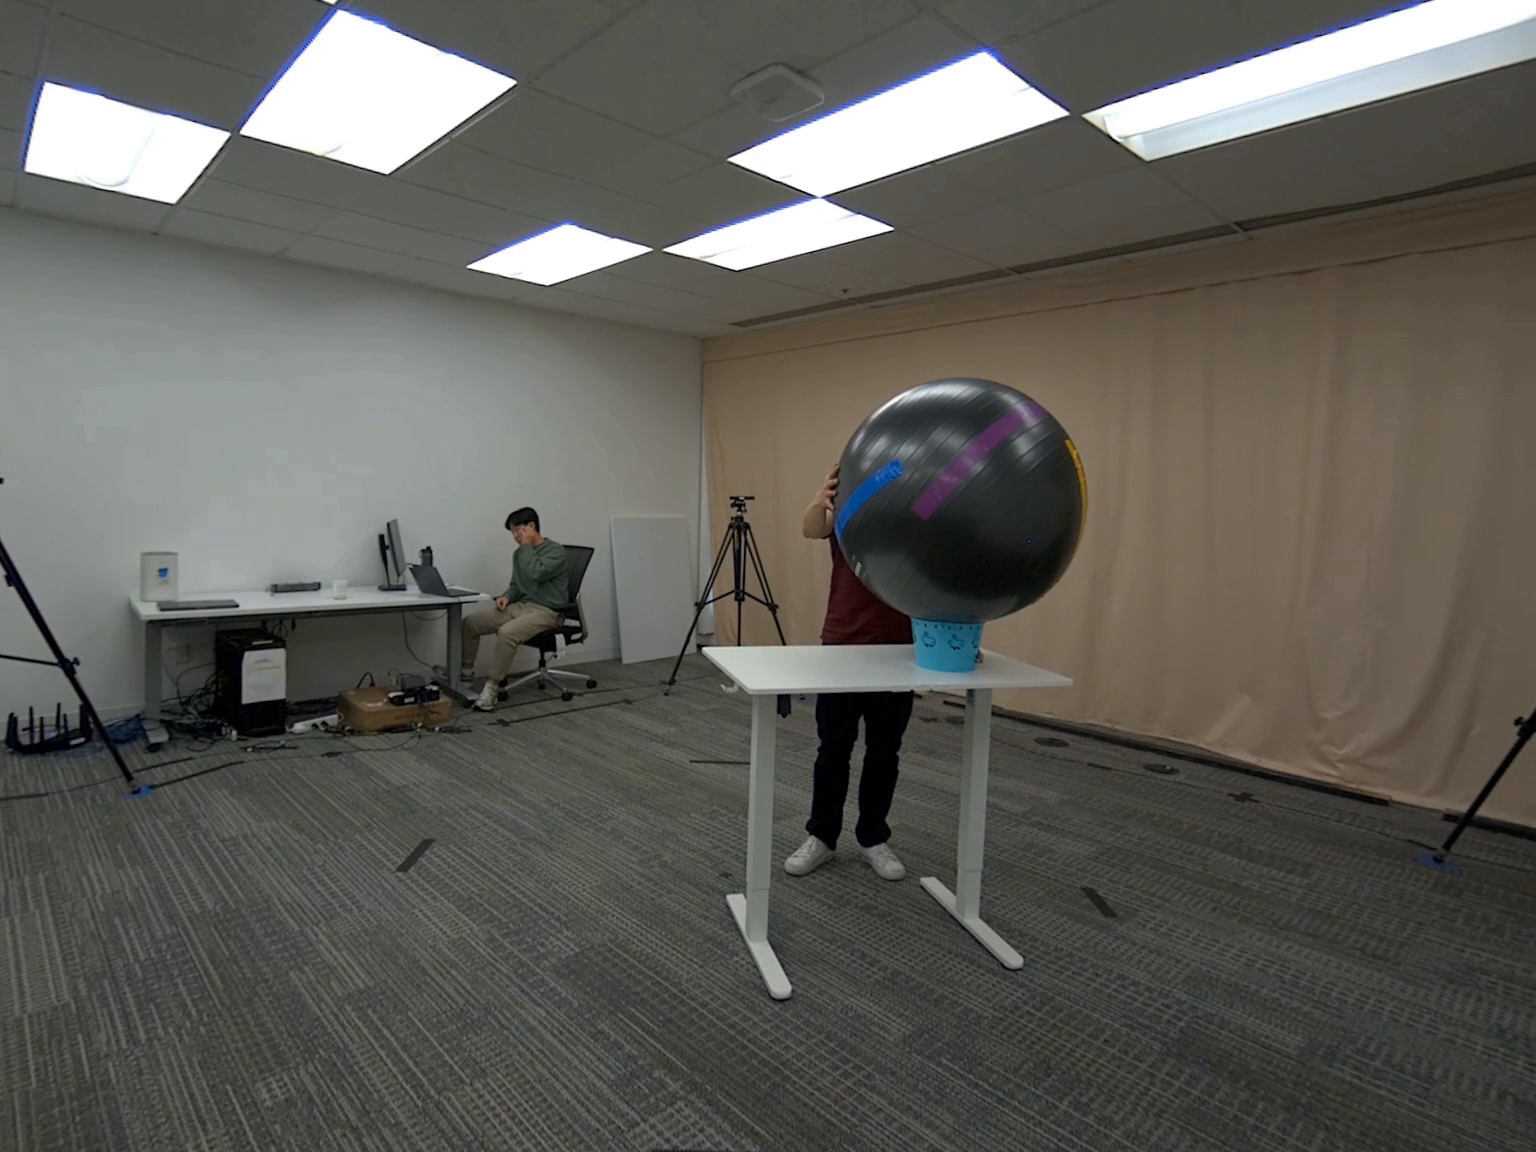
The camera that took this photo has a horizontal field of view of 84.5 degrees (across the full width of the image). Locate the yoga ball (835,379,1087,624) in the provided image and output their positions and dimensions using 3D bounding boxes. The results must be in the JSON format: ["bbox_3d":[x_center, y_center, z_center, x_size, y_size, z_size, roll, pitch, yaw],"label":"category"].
[{"bbox_3d":[0.585,-0.221,2.601,0.757,0.756,0.760,1,4,-1],"label":"yoga ball"}]
